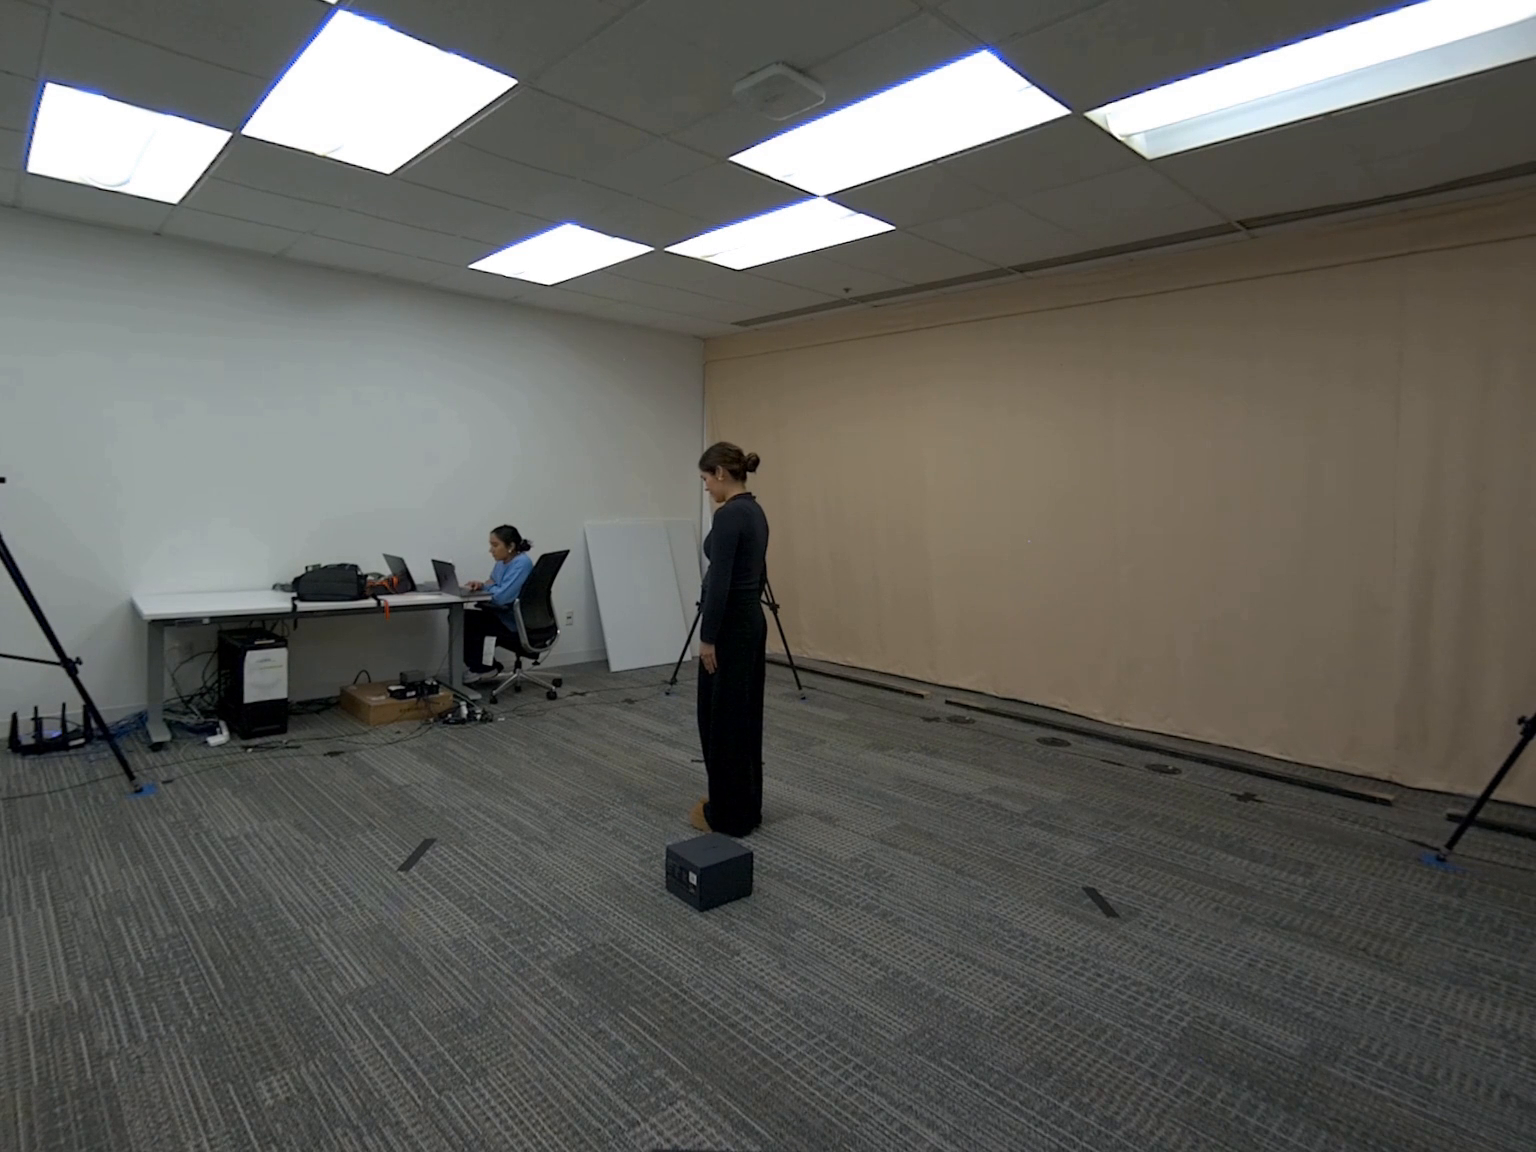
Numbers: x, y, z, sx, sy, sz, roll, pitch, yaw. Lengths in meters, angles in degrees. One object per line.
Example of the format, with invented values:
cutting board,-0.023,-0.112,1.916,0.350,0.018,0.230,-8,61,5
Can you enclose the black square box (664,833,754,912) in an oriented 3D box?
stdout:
black square box,-0.220,1.033,2.957,0.223,0.155,0.222,-4,7,-40
